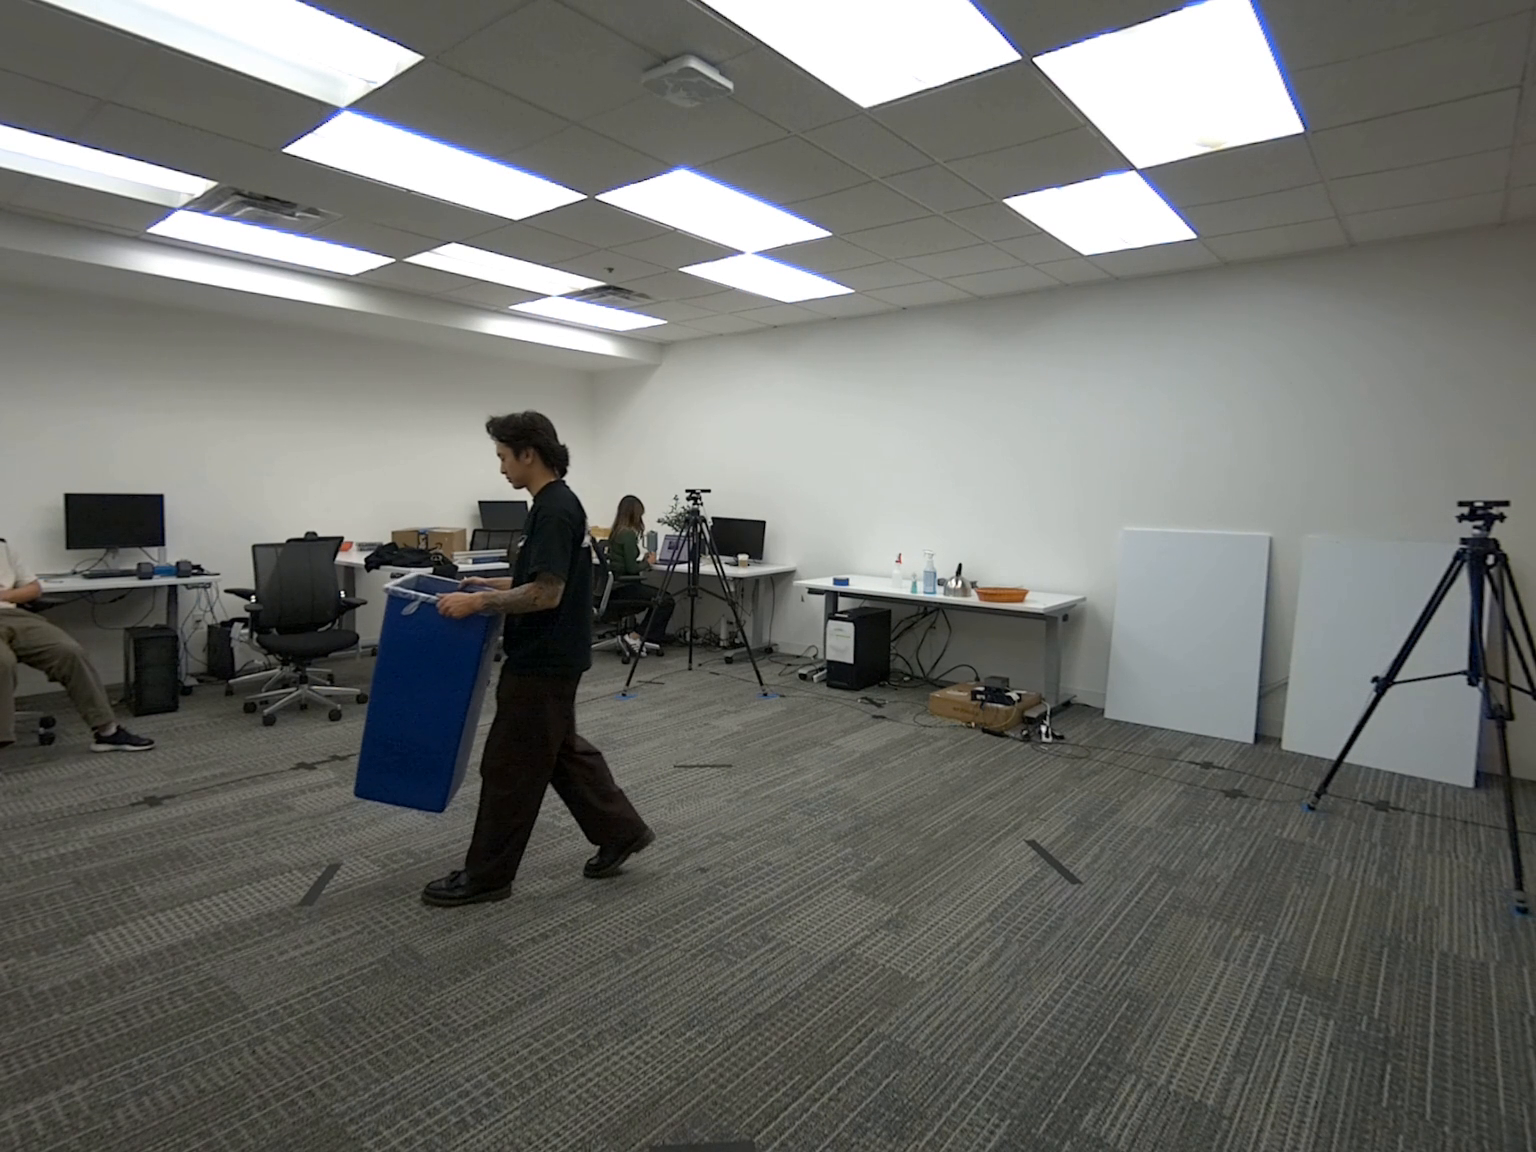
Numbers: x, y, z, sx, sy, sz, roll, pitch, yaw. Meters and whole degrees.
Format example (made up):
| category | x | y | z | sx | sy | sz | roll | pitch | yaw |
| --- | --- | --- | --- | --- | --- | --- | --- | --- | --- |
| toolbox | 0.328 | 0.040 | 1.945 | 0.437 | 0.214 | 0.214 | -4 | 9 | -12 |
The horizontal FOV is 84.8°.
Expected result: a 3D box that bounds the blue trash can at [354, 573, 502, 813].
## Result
| category | x | y | z | sx | sy | sz | roll | pitch | yaw |
| --- | --- | --- | --- | --- | --- | --- | --- | --- | --- |
| blue trash can | -1.173 | 0.389 | 2.933 | 0.376 | 0.711 | 0.377 | 13 | 4 | -5 |
